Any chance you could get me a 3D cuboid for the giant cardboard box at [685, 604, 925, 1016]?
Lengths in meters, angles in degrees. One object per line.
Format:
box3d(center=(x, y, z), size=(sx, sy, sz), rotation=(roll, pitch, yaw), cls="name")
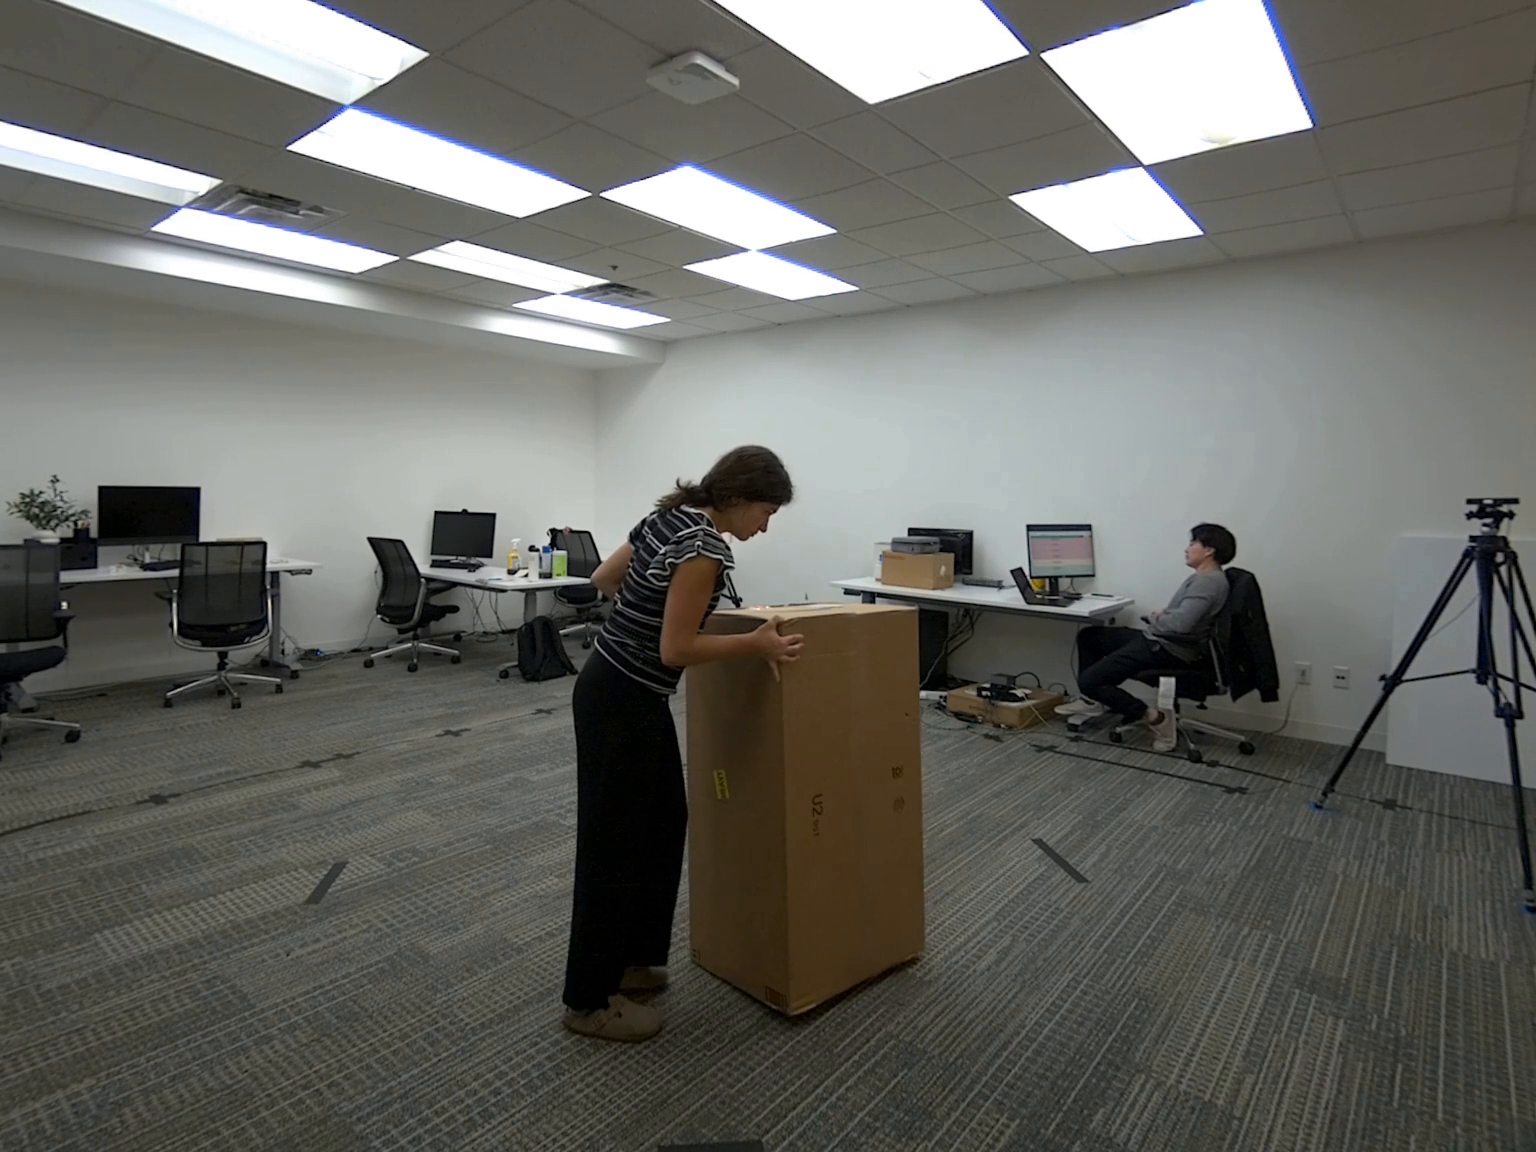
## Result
box3d(center=(0.106, 0.616, 2.535), size=(0.560, 1.026, 0.439), rotation=(-1, 0, -41), cls="giant cardboard box")
